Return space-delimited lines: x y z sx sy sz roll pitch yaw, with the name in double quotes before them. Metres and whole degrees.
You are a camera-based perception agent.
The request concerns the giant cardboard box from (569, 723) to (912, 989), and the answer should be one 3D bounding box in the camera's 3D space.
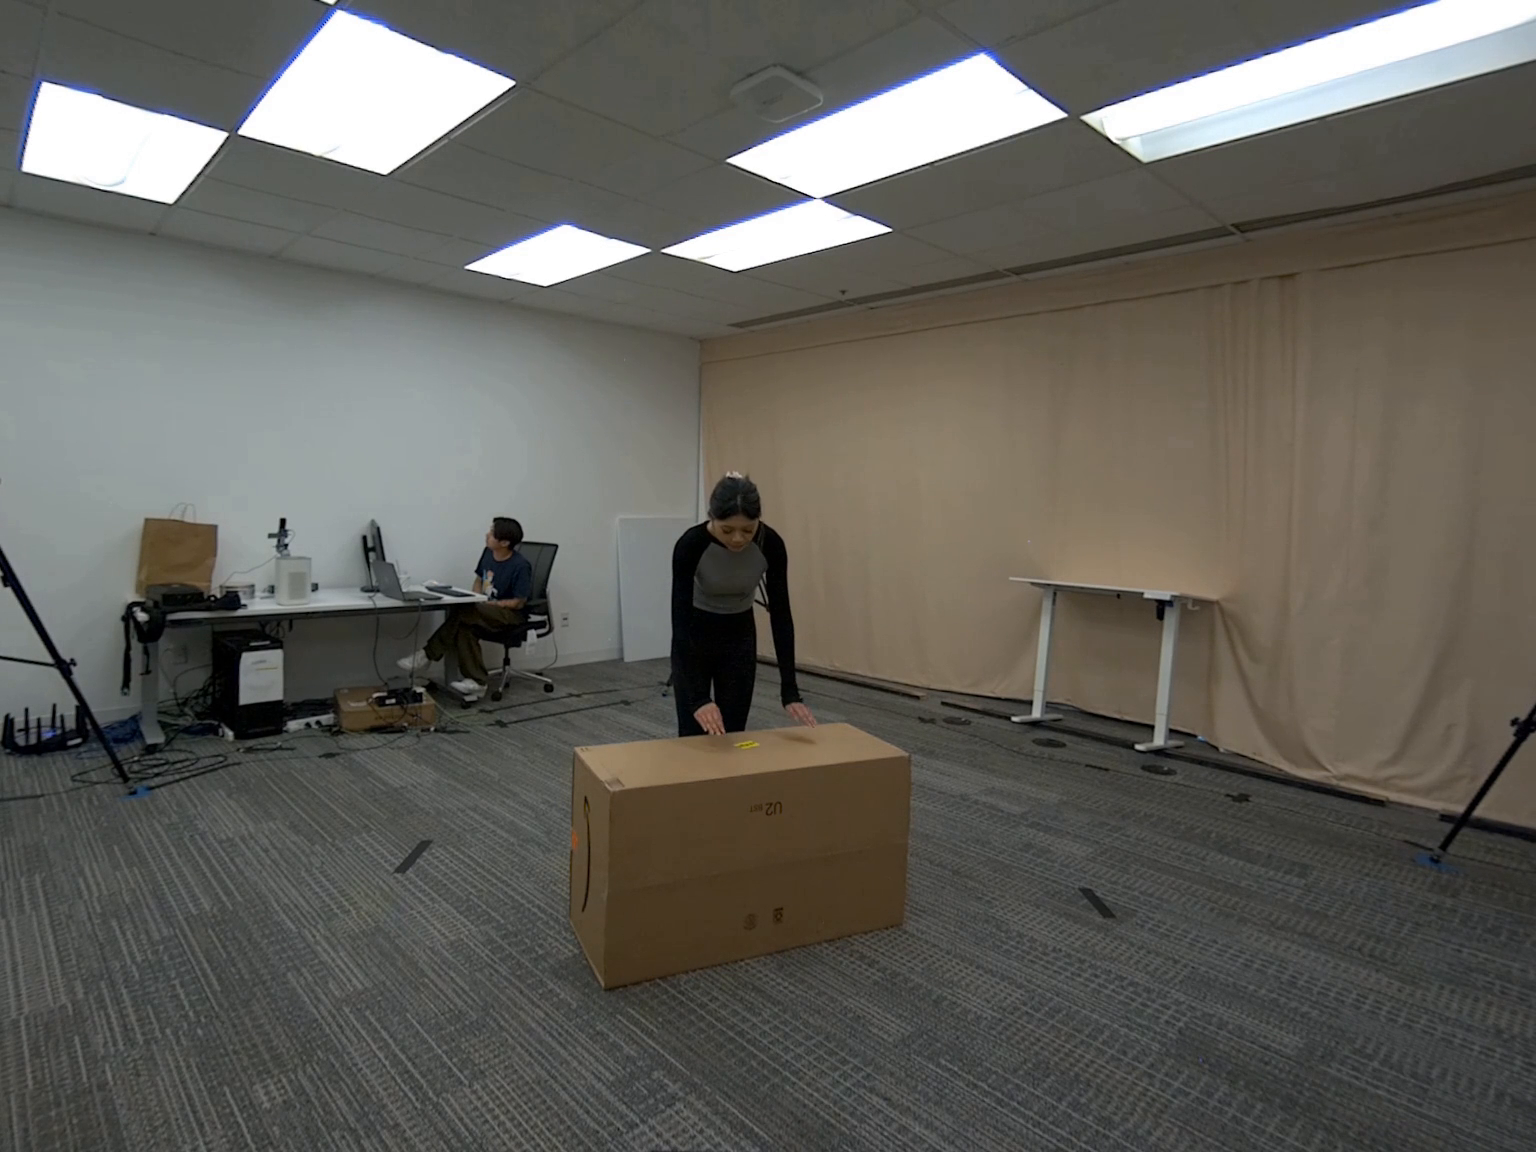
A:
"giant cardboard box" -0.092 0.853 2.742 1.008 0.576 0.435 0 4 -24
